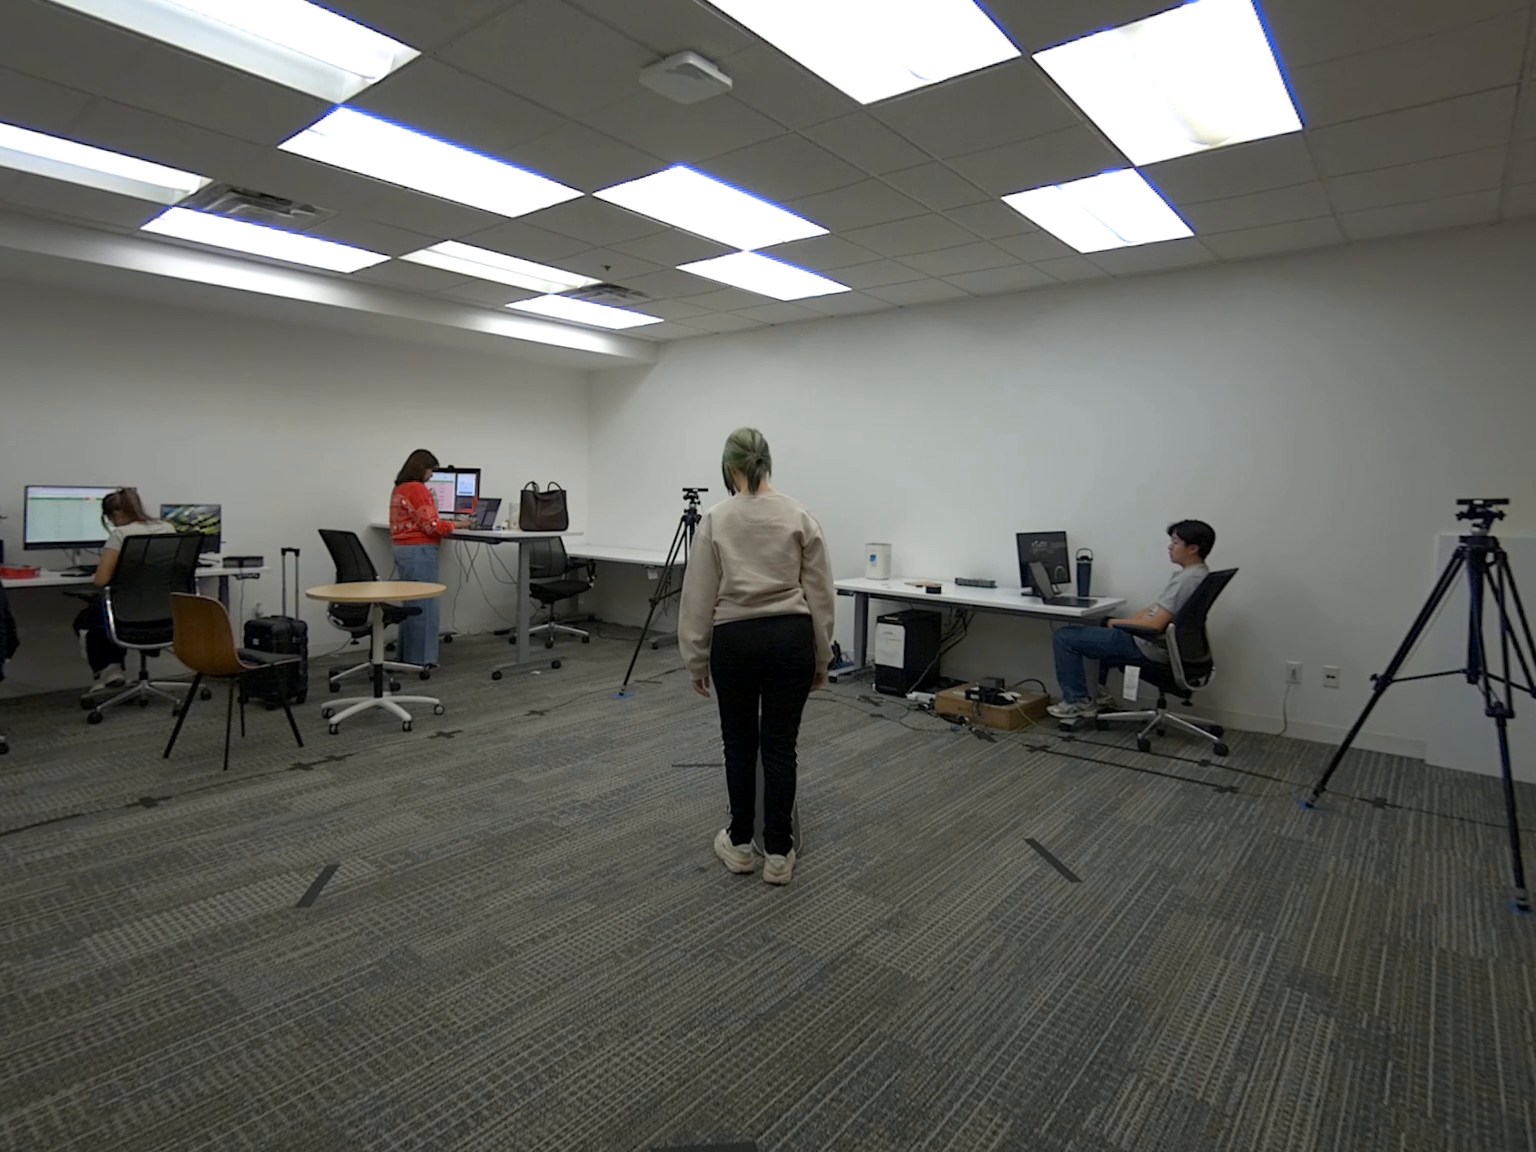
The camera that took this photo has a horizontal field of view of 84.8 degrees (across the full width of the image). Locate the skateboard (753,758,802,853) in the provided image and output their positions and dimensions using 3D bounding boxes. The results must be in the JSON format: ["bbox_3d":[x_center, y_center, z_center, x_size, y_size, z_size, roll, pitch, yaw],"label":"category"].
[{"bbox_3d":[0.024,0.887,3.561,0.193,0.107,0.808,-2,32,-5],"label":"skateboard"}]
